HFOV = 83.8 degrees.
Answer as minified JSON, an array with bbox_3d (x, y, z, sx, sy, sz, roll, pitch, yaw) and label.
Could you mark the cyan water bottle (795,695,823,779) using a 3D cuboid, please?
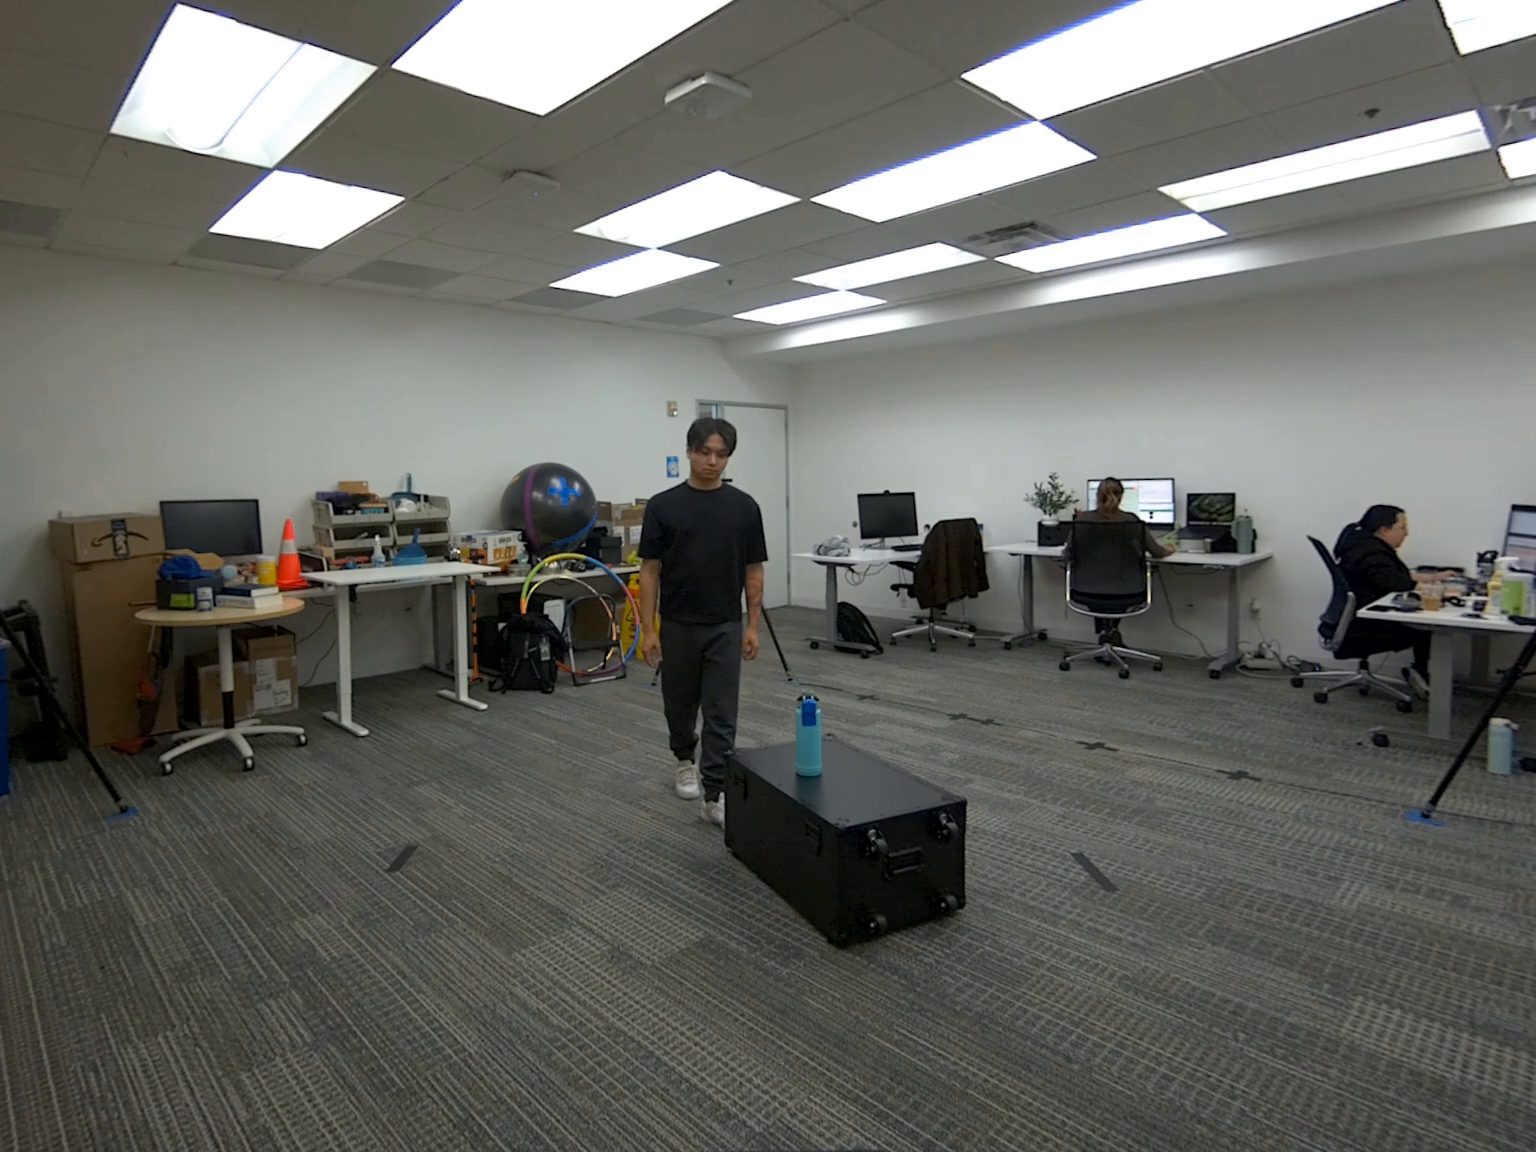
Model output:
[{"bbox_3d":[0.147,0.544,2.964,0.092,0.282,0.093,-1,6,-2],"label":"cyan water bottle"}]
